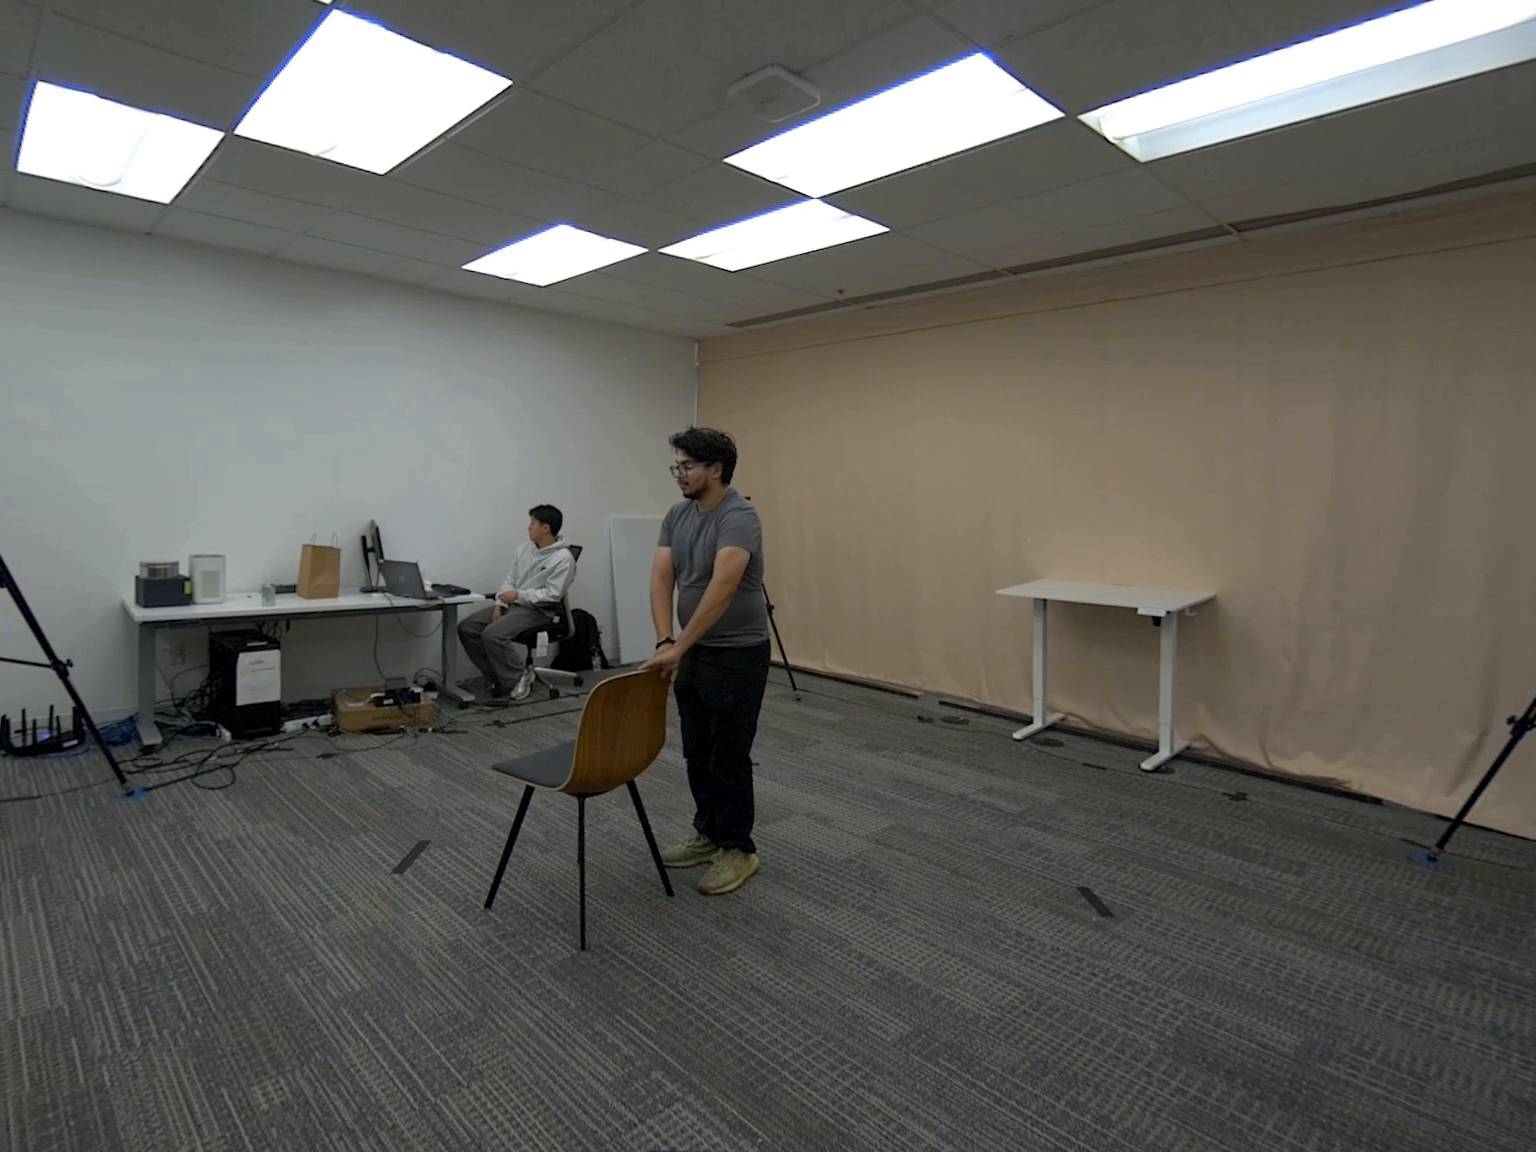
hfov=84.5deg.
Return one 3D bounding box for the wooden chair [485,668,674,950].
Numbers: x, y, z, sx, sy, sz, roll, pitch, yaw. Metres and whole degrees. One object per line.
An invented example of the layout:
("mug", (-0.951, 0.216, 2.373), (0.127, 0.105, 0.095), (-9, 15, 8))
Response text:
("wooden chair", (-0.633, 0.690, 2.846), (0.536, 0.874, 0.468), (9, 7, 32))
